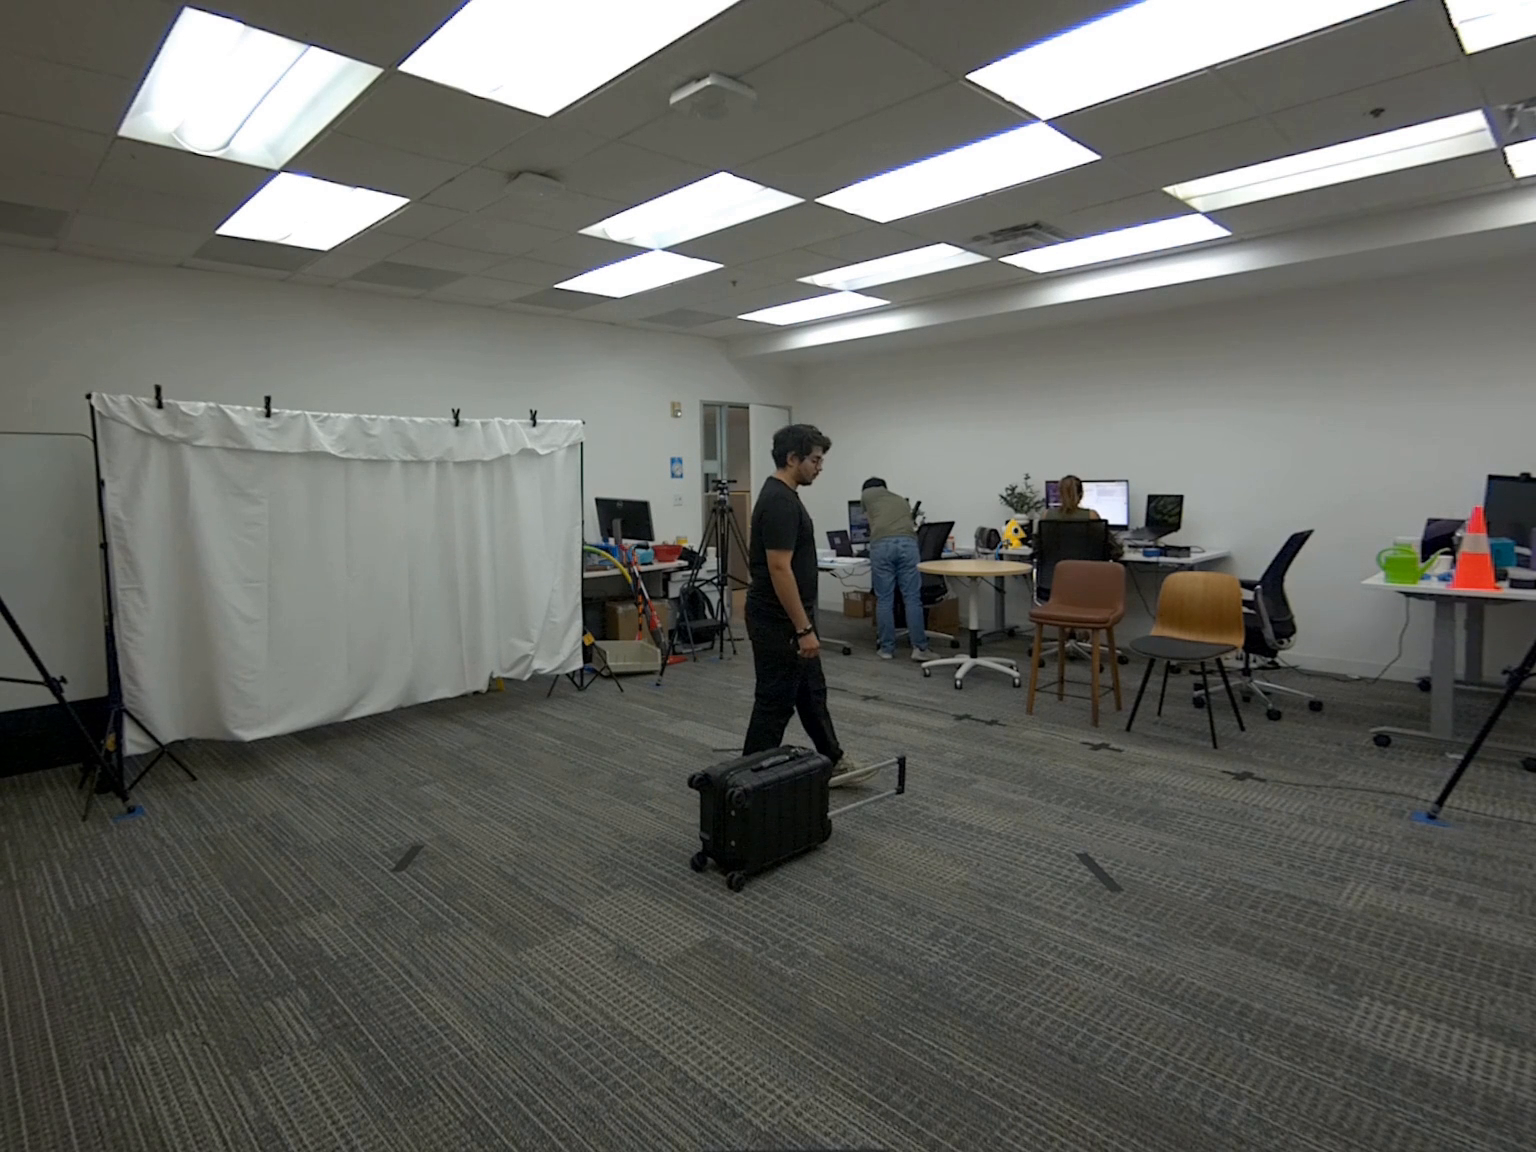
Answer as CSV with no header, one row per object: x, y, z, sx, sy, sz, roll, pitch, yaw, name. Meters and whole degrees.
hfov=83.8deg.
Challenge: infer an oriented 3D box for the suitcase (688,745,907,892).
0.135,0.837,3.296,0.265,0.382,0.953,4,7,45,suitcase
